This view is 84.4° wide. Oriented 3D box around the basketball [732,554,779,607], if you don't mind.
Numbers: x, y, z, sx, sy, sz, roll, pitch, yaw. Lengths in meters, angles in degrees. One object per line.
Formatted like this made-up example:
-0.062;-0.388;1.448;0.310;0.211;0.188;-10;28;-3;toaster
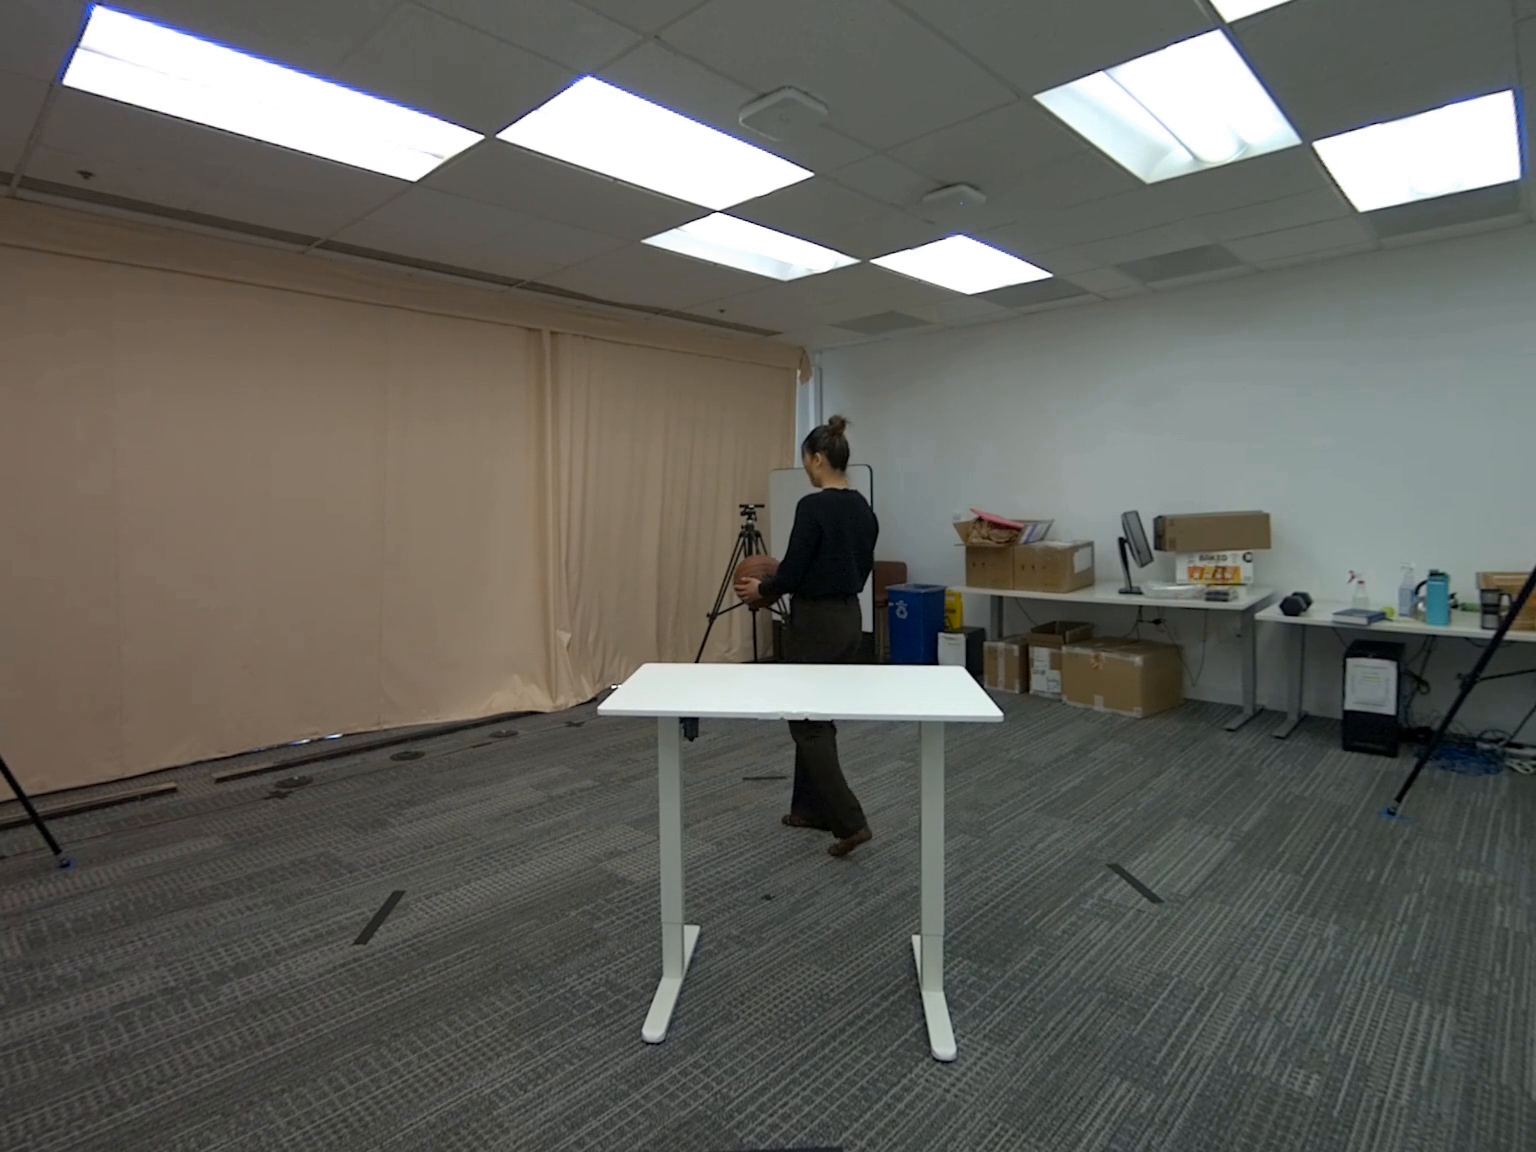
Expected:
-0.034;0.027;3.689;0.236;0.235;0.237;-1;4;-2;basketball
